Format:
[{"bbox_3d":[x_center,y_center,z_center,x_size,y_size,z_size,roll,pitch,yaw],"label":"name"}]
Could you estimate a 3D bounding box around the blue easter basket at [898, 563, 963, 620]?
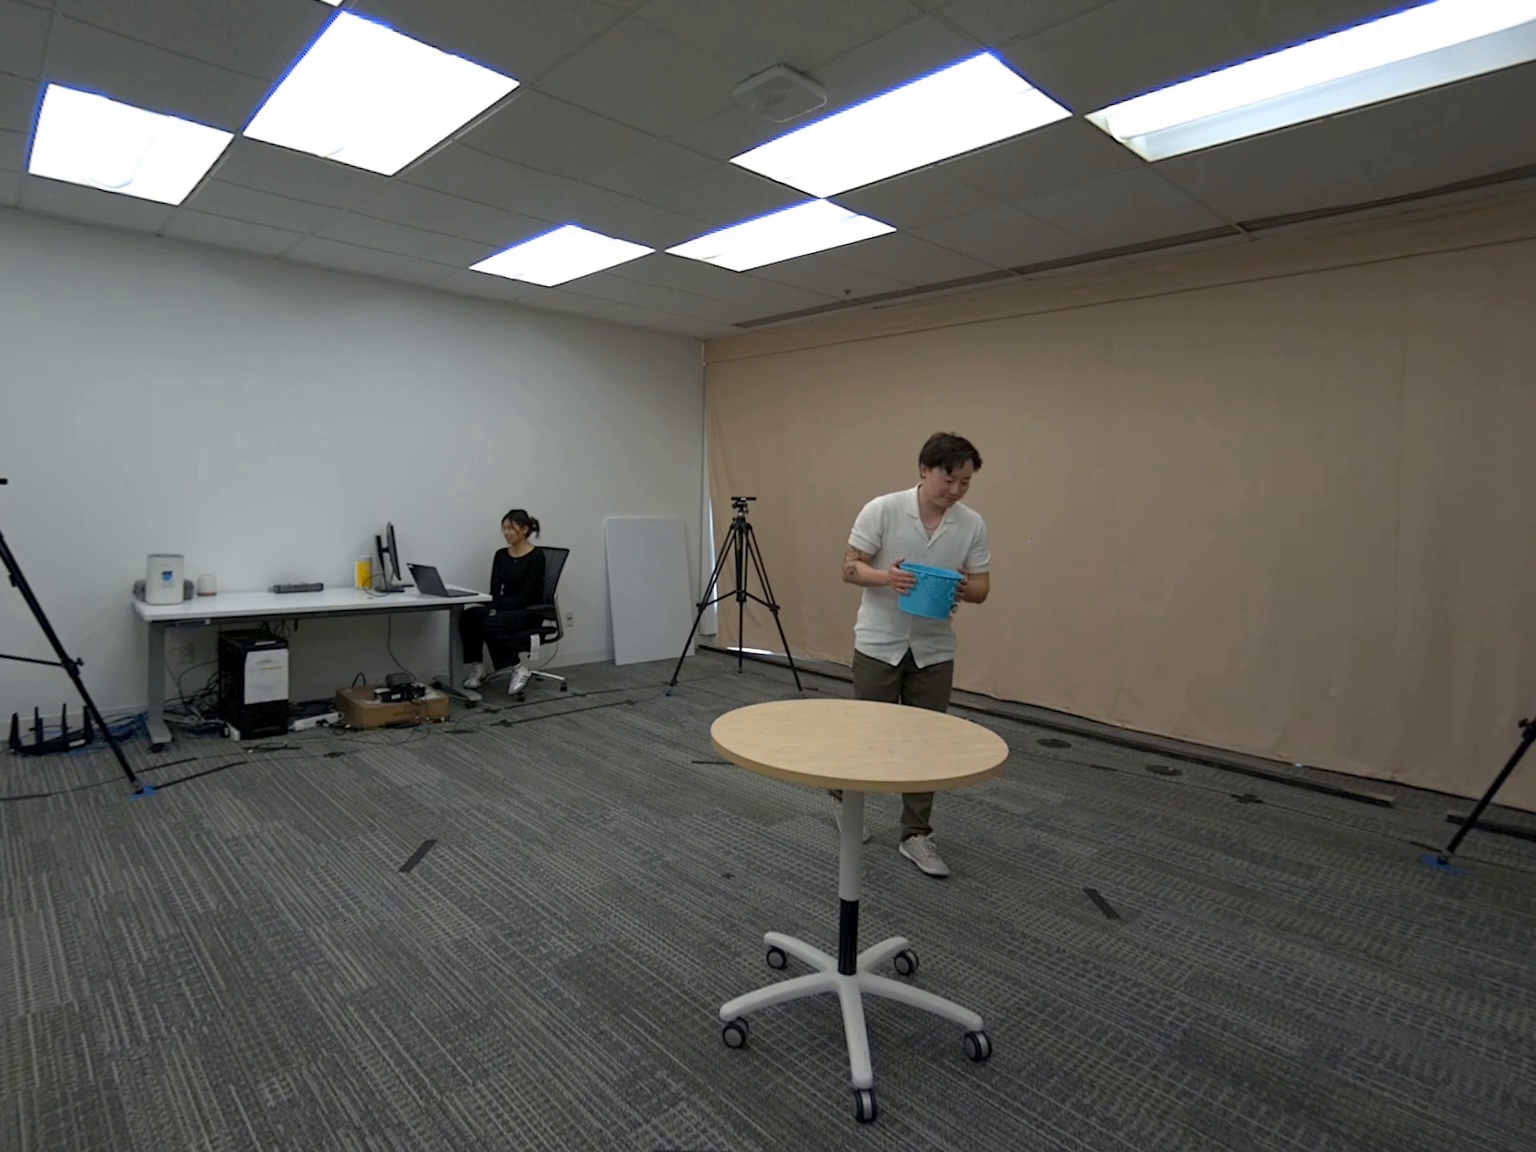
[{"bbox_3d":[0.556,0.060,2.985,0.243,0.155,0.245,7,8,-2],"label":"blue easter basket"}]
